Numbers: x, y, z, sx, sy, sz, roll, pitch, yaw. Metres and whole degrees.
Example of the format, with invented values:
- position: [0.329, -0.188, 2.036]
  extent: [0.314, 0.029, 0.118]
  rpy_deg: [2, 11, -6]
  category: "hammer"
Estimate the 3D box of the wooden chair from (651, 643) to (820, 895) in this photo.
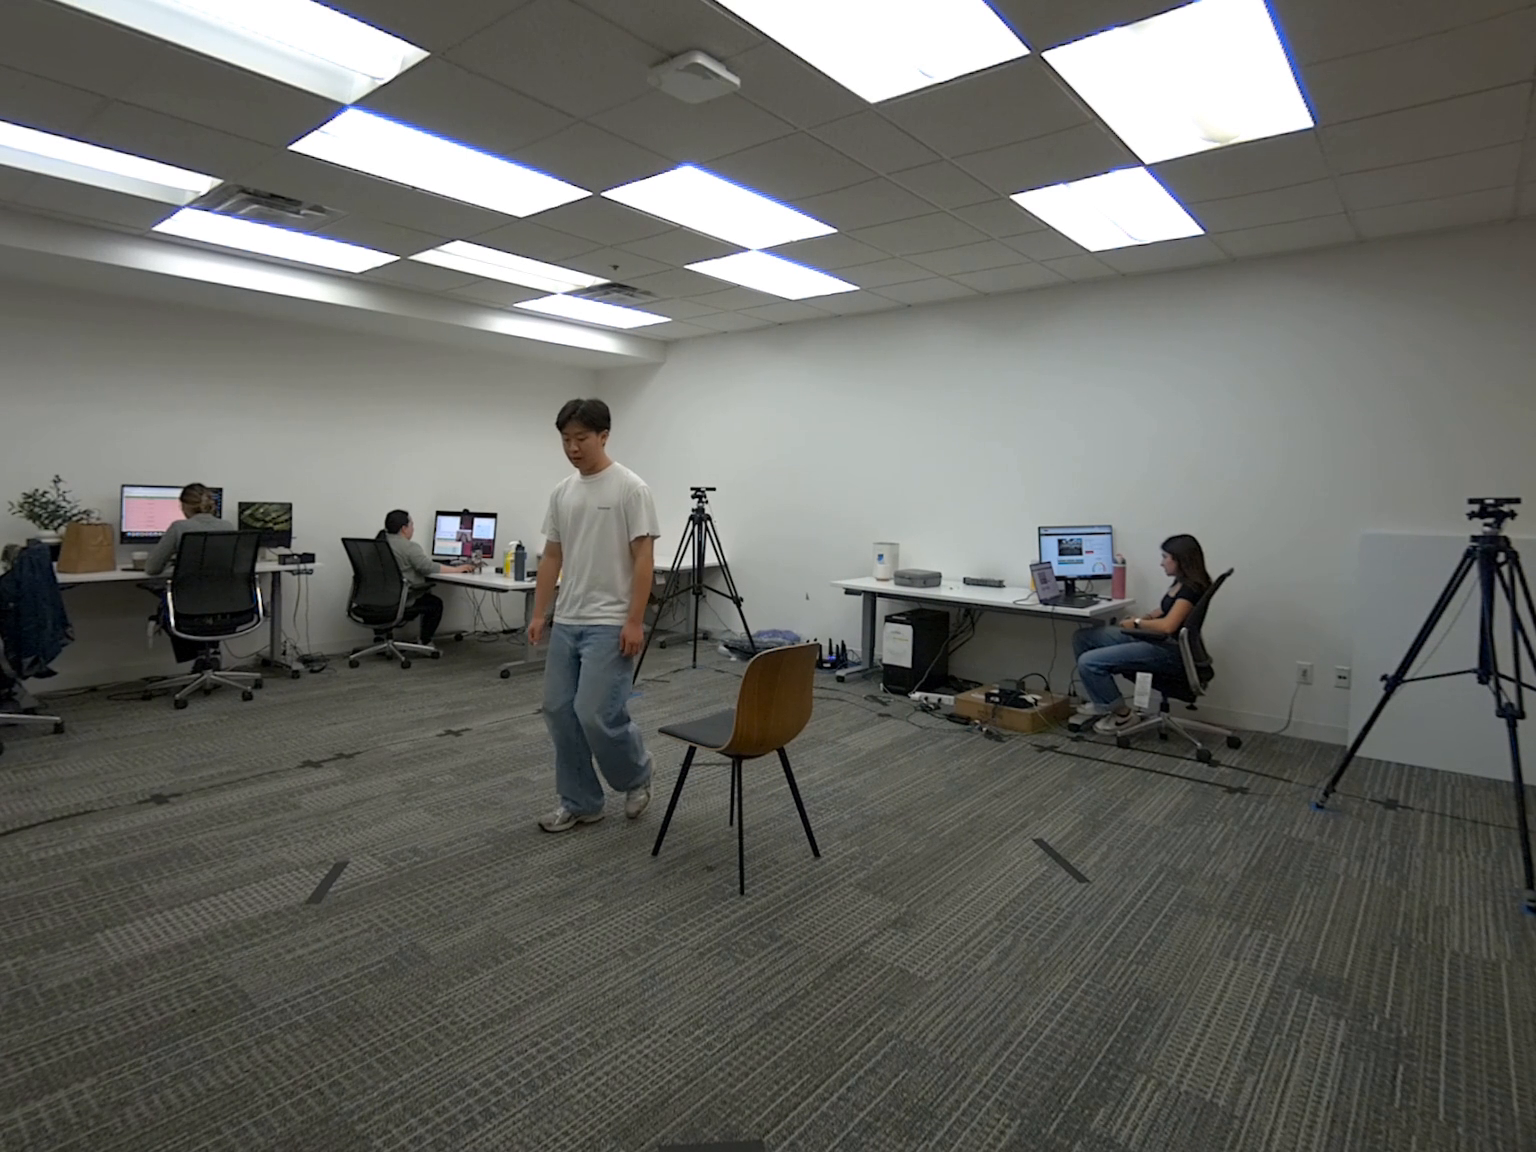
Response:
- position: [-0.124, 0.634, 3.193]
  extent: [0.542, 0.873, 0.463]
  rpy_deg: [10, 8, 40]
  category: "wooden chair"
